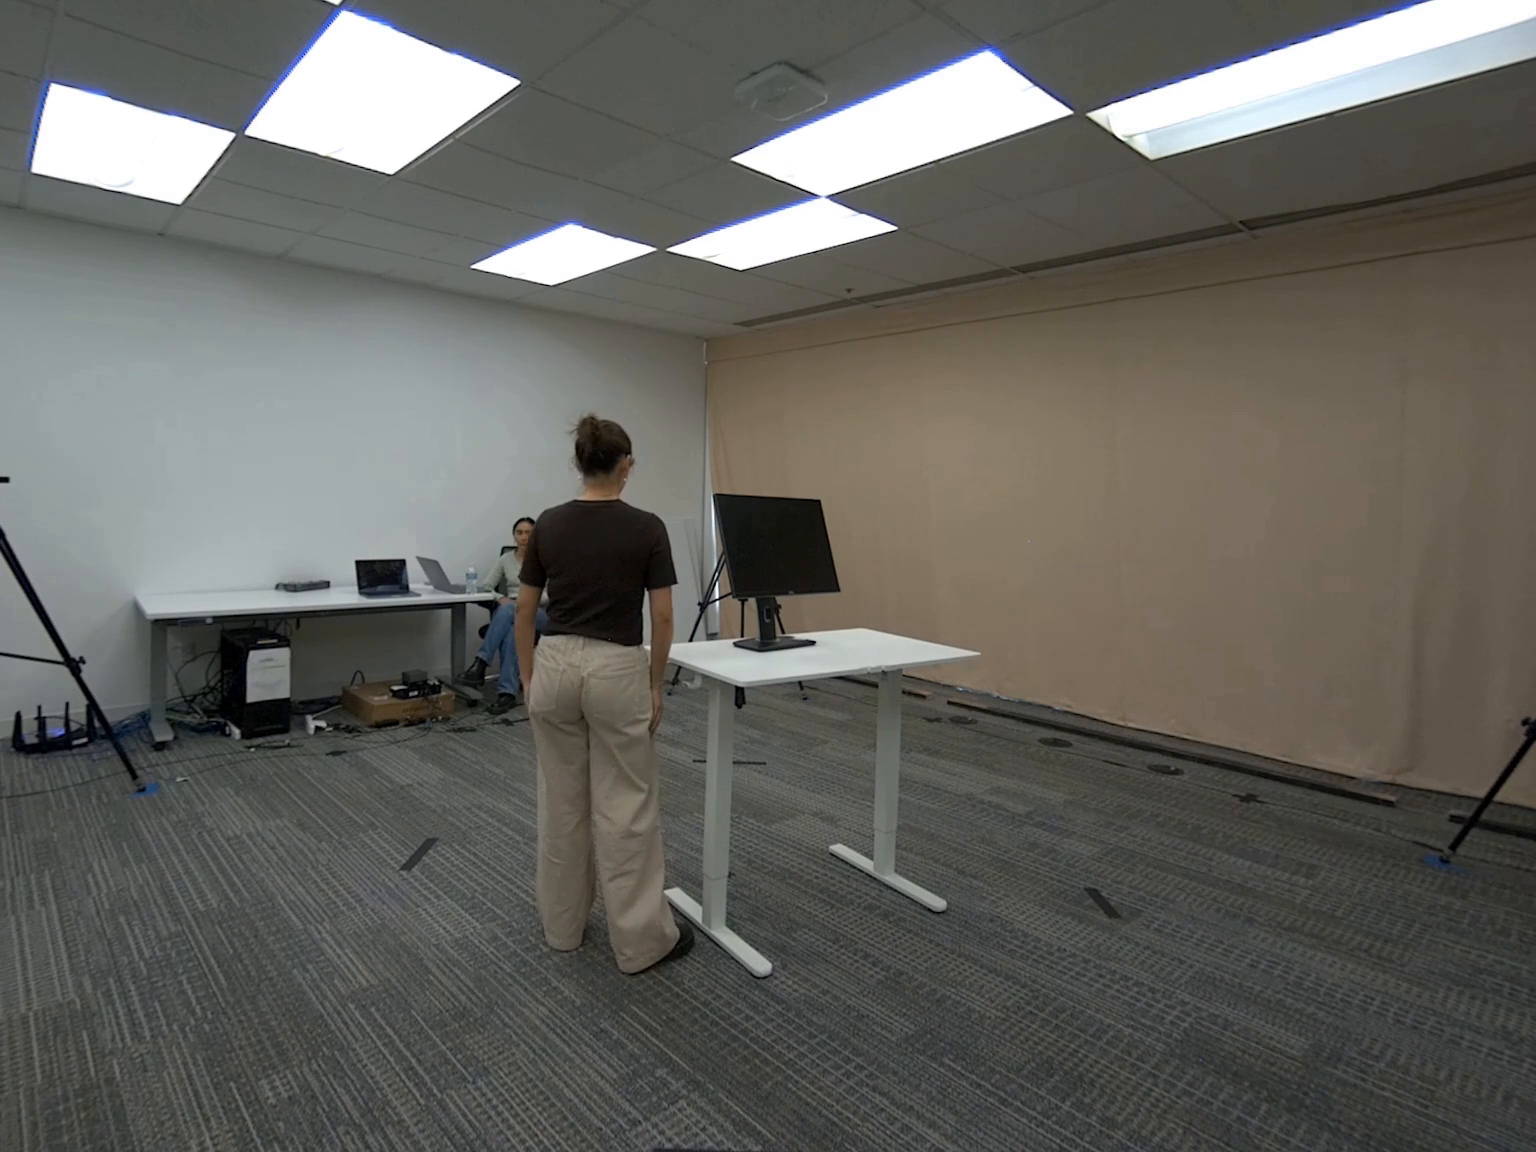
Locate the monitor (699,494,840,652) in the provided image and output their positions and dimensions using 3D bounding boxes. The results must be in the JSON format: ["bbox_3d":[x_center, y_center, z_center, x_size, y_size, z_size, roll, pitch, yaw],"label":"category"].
[{"bbox_3d":[0.017,-0.011,2.914,0.191,0.522,0.526,0,1,41],"label":"monitor"}]
